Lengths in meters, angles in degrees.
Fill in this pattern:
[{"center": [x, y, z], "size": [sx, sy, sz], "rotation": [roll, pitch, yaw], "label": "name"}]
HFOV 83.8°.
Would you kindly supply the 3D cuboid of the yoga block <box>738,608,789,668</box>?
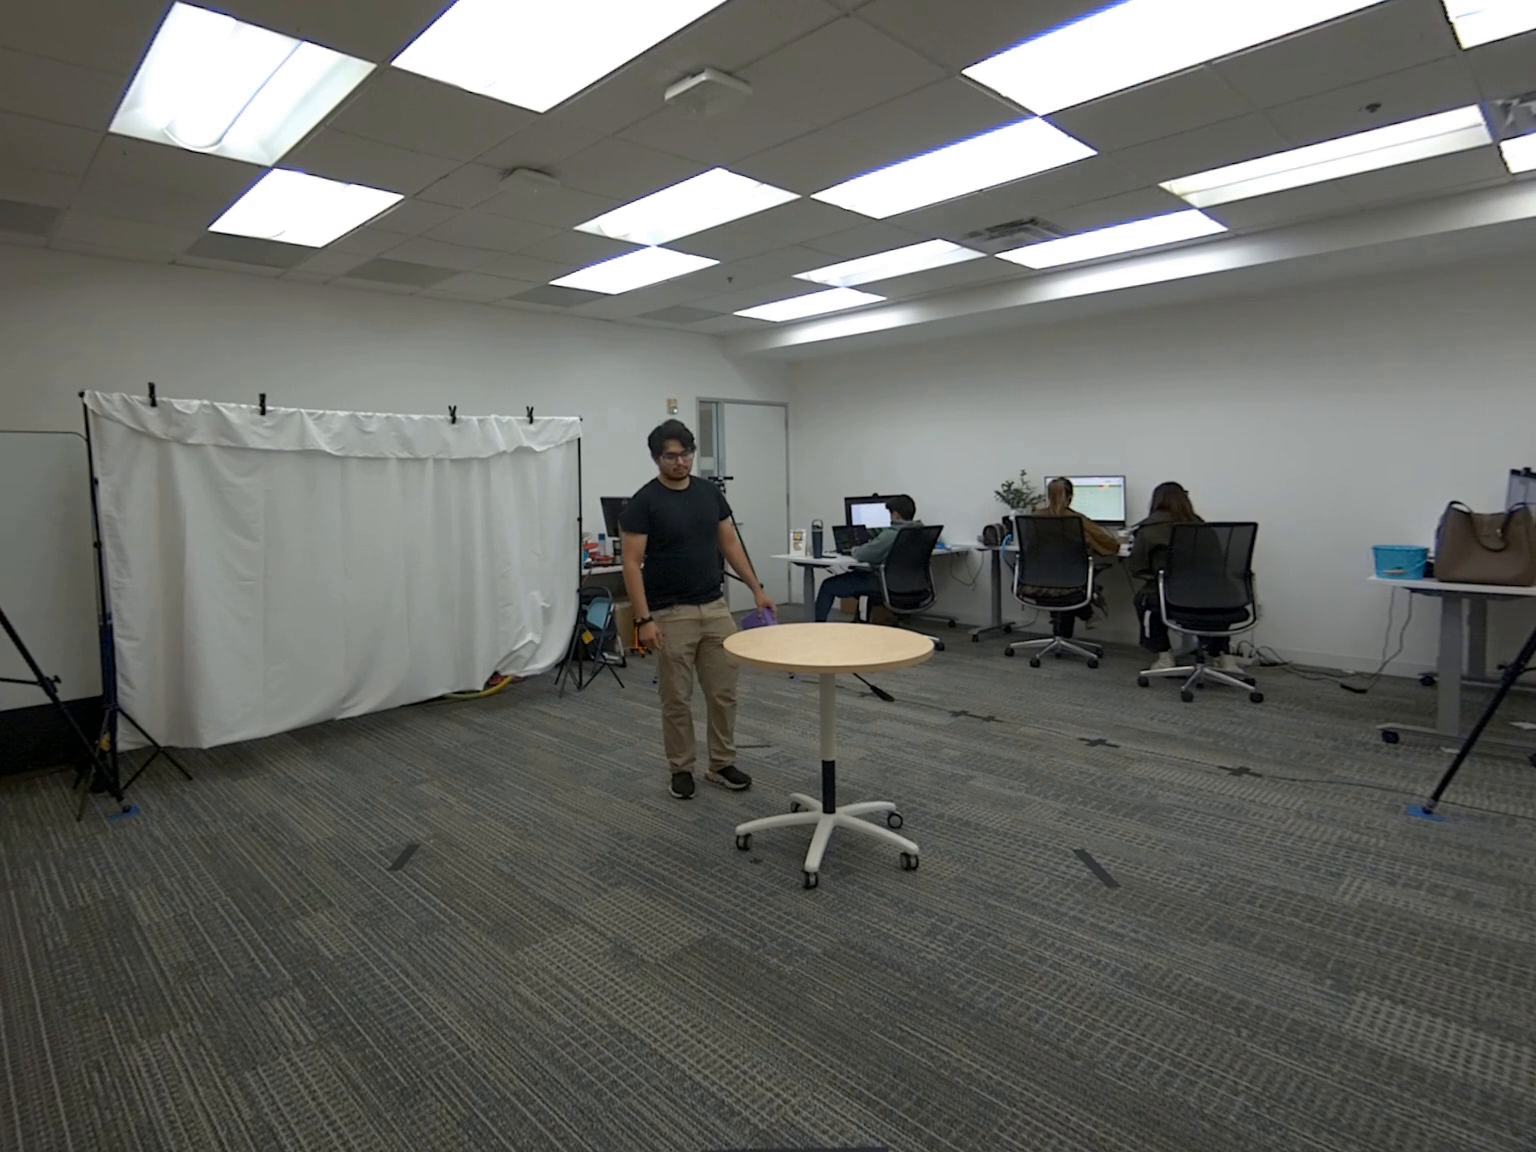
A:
[{"center": [-0.024, 0.269, 3.837], "size": [0.150, 0.236, 0.074], "rotation": [-37, -32, 30], "label": "yoga block"}]
